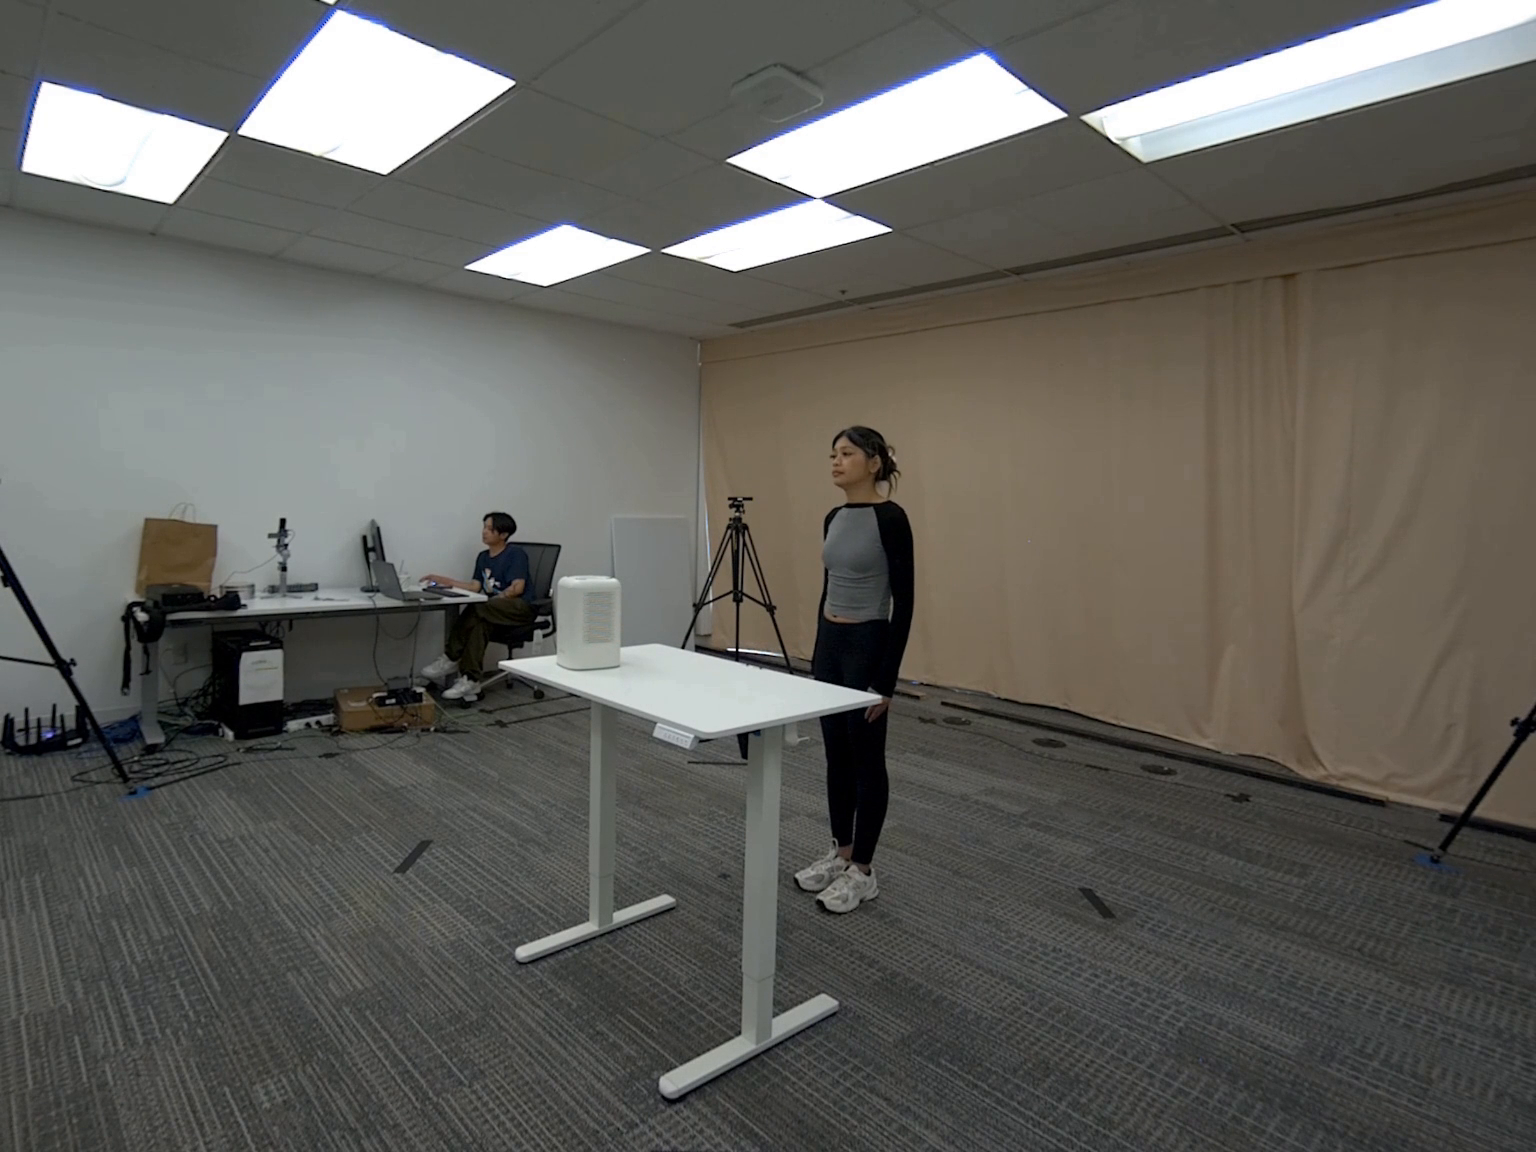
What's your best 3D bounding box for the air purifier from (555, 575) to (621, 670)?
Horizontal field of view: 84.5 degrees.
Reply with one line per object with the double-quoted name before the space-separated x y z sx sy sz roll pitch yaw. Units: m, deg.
"air purifier" -0.550 0.137 2.533 0.168 0.265 0.175 1 2 -33
